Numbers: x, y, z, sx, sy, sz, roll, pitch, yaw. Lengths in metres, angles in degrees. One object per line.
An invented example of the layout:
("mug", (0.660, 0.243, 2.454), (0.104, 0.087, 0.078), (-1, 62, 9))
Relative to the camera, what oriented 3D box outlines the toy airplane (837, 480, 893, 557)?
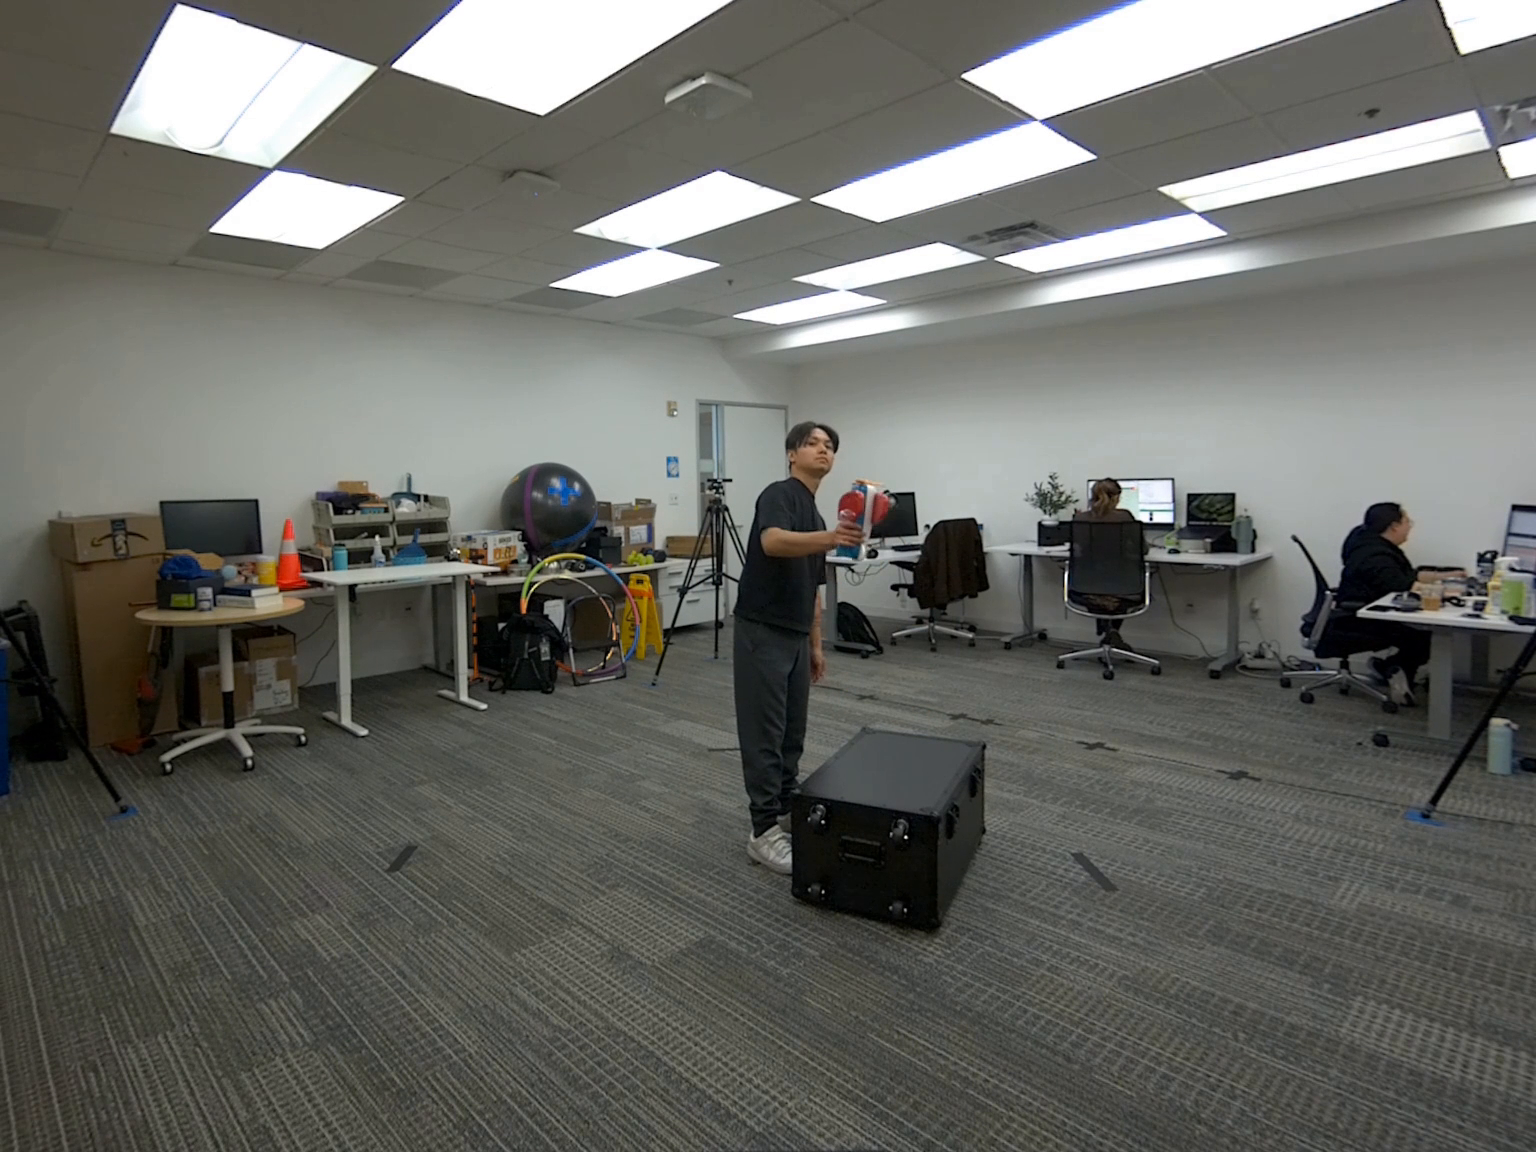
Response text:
("toy airplane", (0.311, -0.173, 2.750), (0.155, 0.263, 0.249), (23, -30, -7))
